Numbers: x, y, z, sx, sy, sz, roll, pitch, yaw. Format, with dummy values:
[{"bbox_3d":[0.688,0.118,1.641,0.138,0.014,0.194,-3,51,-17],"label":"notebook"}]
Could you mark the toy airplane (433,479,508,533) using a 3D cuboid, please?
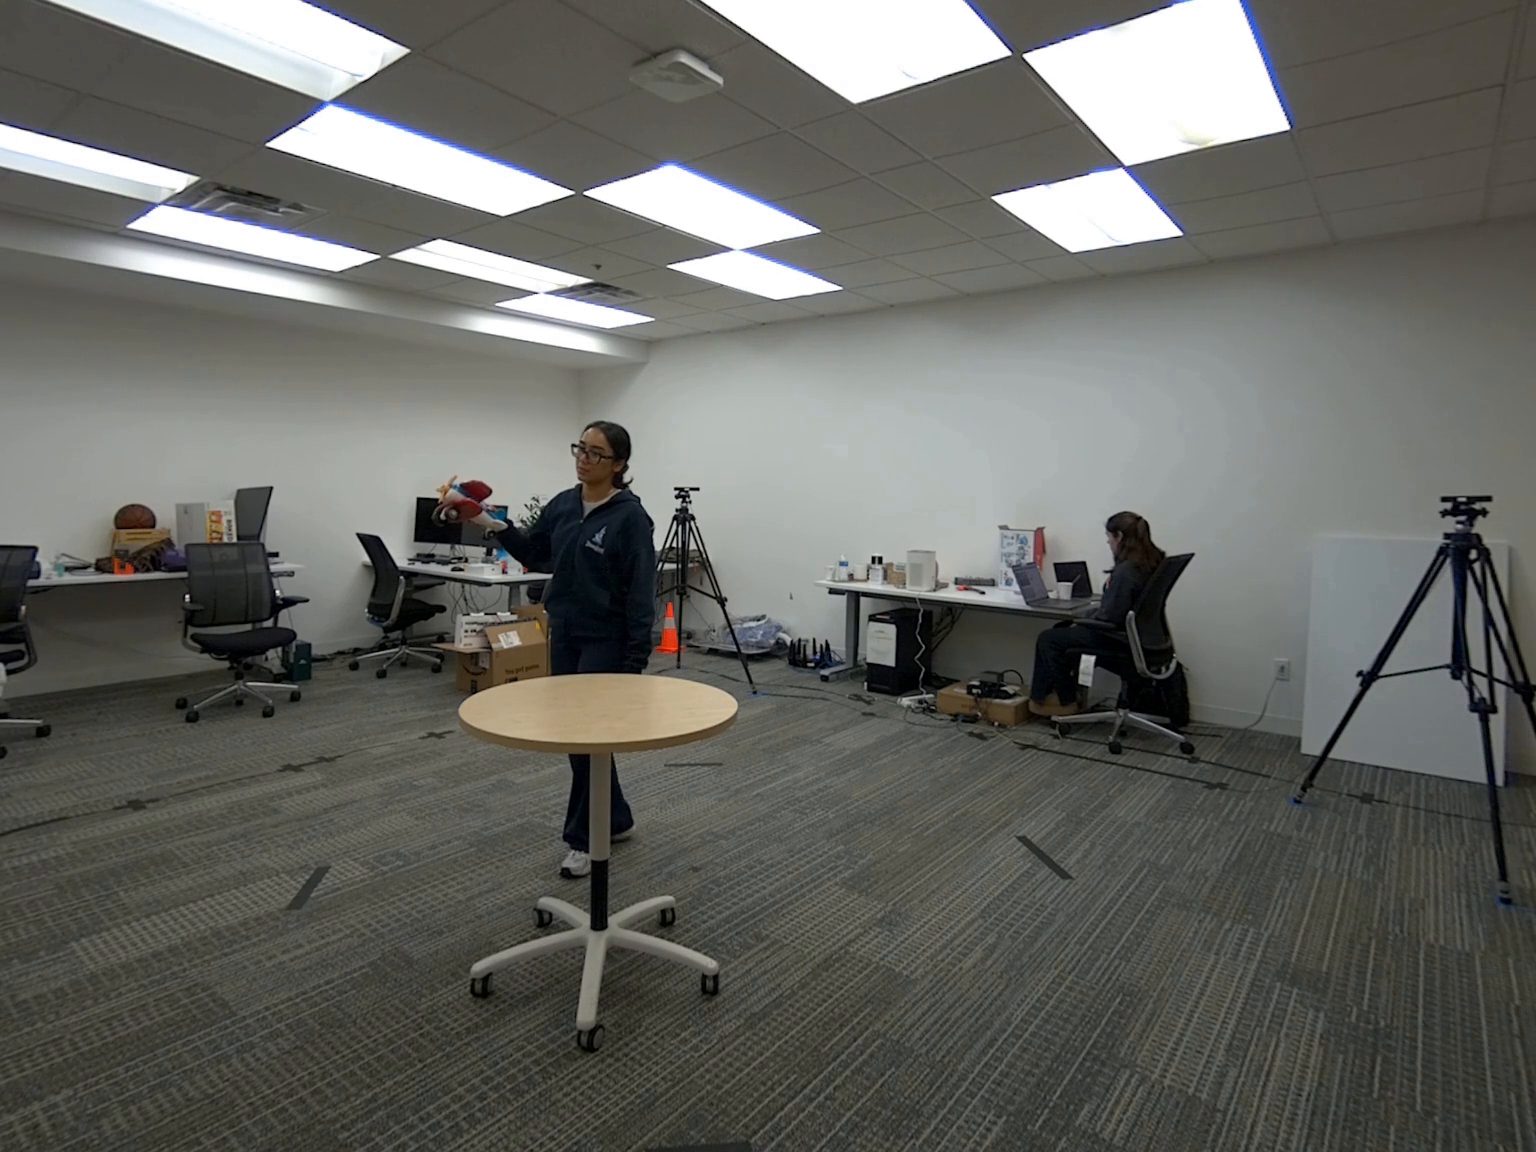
[{"bbox_3d":[-1.079,-0.224,3.034,0.255,0.159,0.251,1,-20,16],"label":"toy airplane"}]
